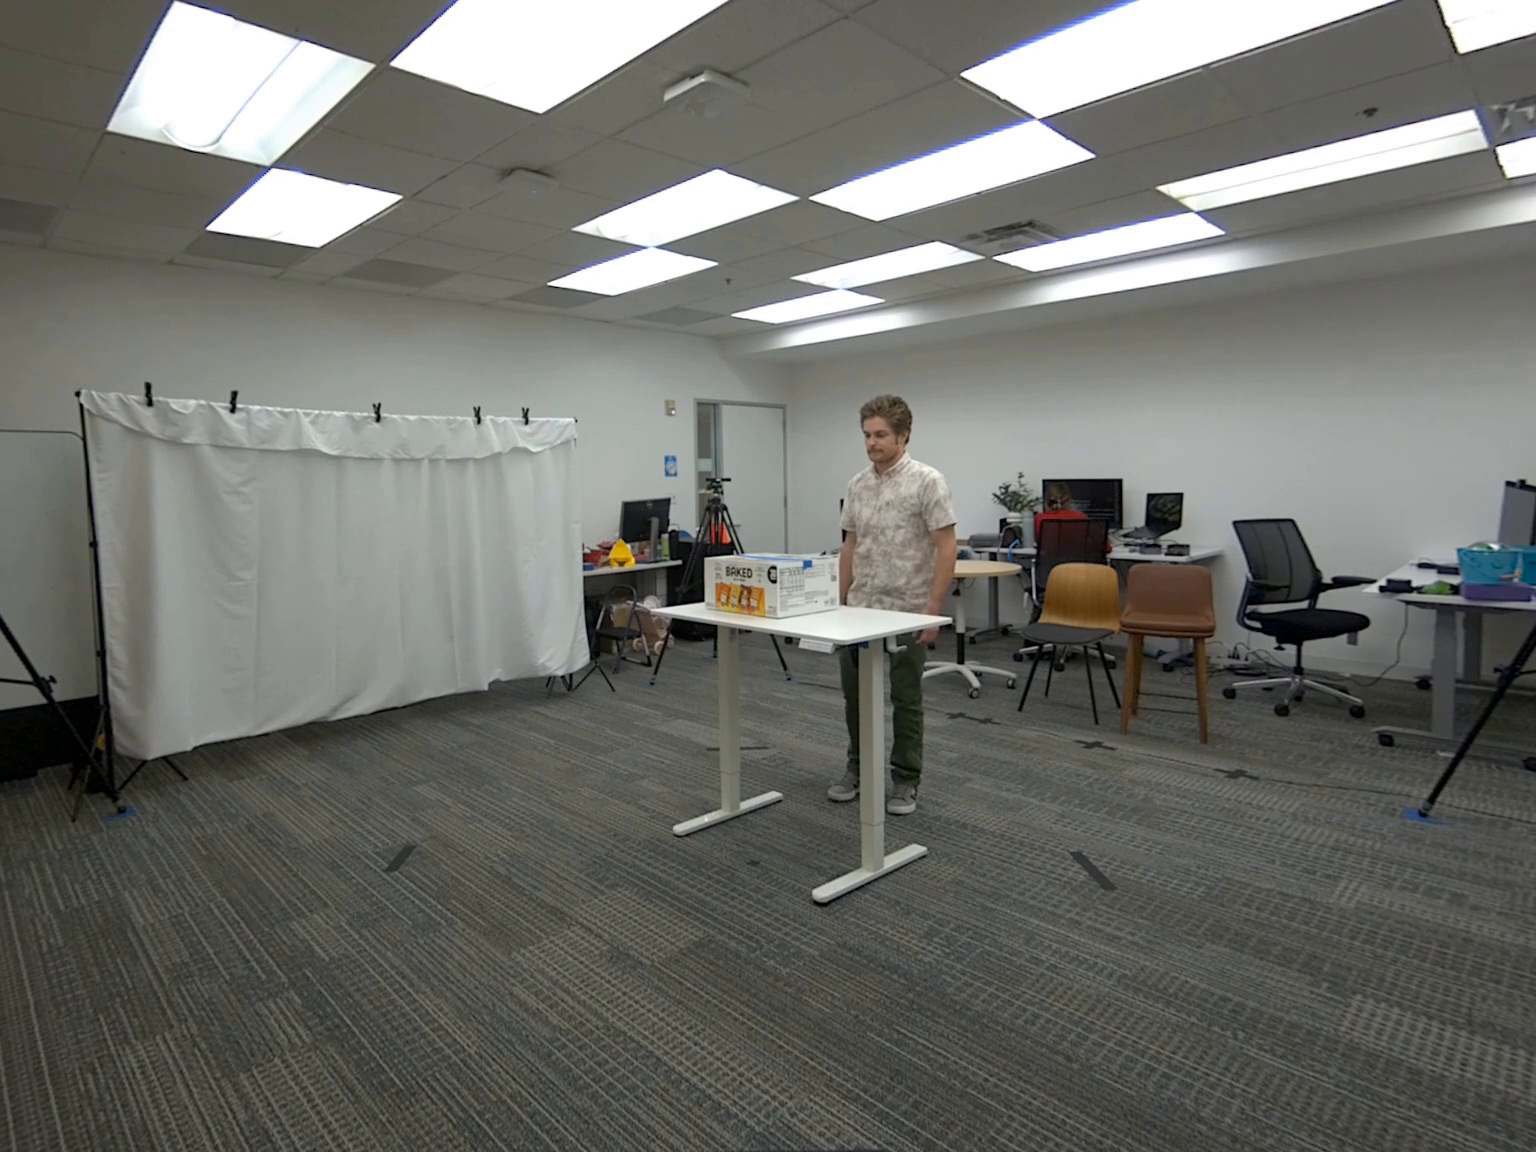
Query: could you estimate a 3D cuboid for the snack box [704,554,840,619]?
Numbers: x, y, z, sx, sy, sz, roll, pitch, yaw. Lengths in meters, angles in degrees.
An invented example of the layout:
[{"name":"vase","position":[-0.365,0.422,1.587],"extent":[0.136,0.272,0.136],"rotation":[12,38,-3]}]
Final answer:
[{"name":"snack box","position":[0.015,0.030,3.343],"extent":[0.331,0.205,0.418],"rotation":[-6,8,-43]}]
